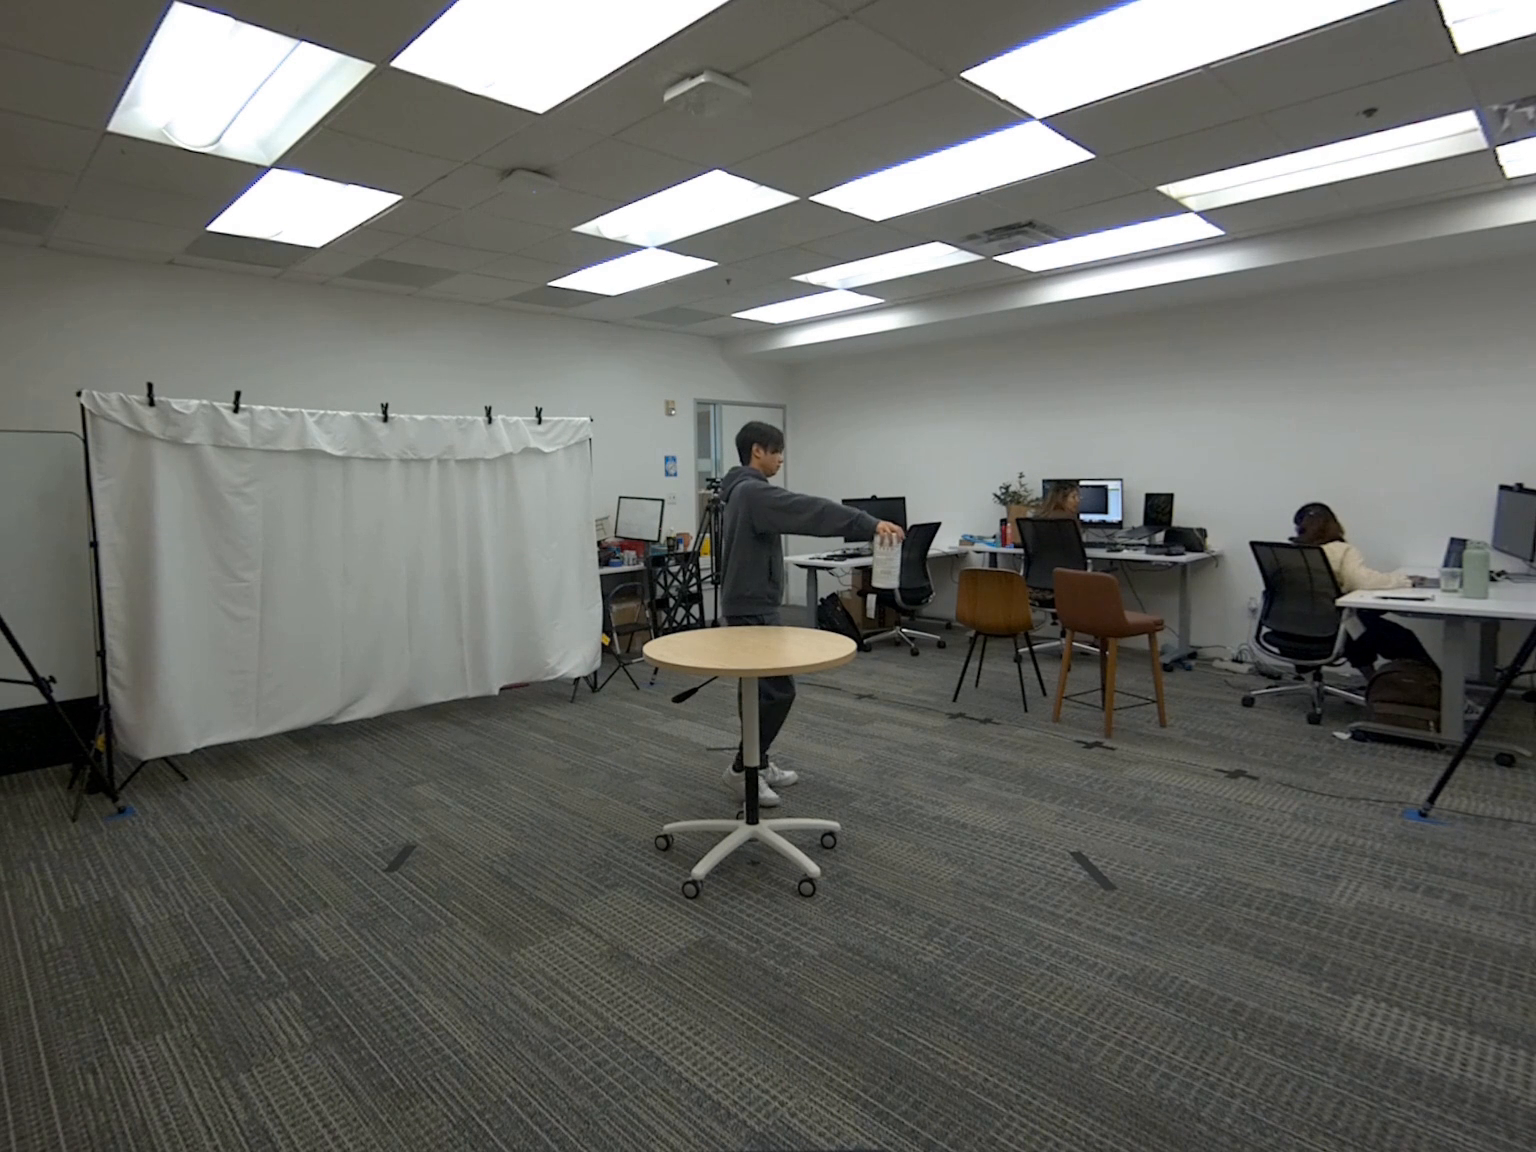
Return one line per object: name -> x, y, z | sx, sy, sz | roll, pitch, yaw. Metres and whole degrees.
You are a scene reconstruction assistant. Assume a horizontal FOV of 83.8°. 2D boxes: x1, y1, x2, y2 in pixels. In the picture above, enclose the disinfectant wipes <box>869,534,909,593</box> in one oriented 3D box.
disinfectant wipes -> 0.481, -0.058, 3.425 | 0.117, 0.216, 0.119 | 2, 8, -2
